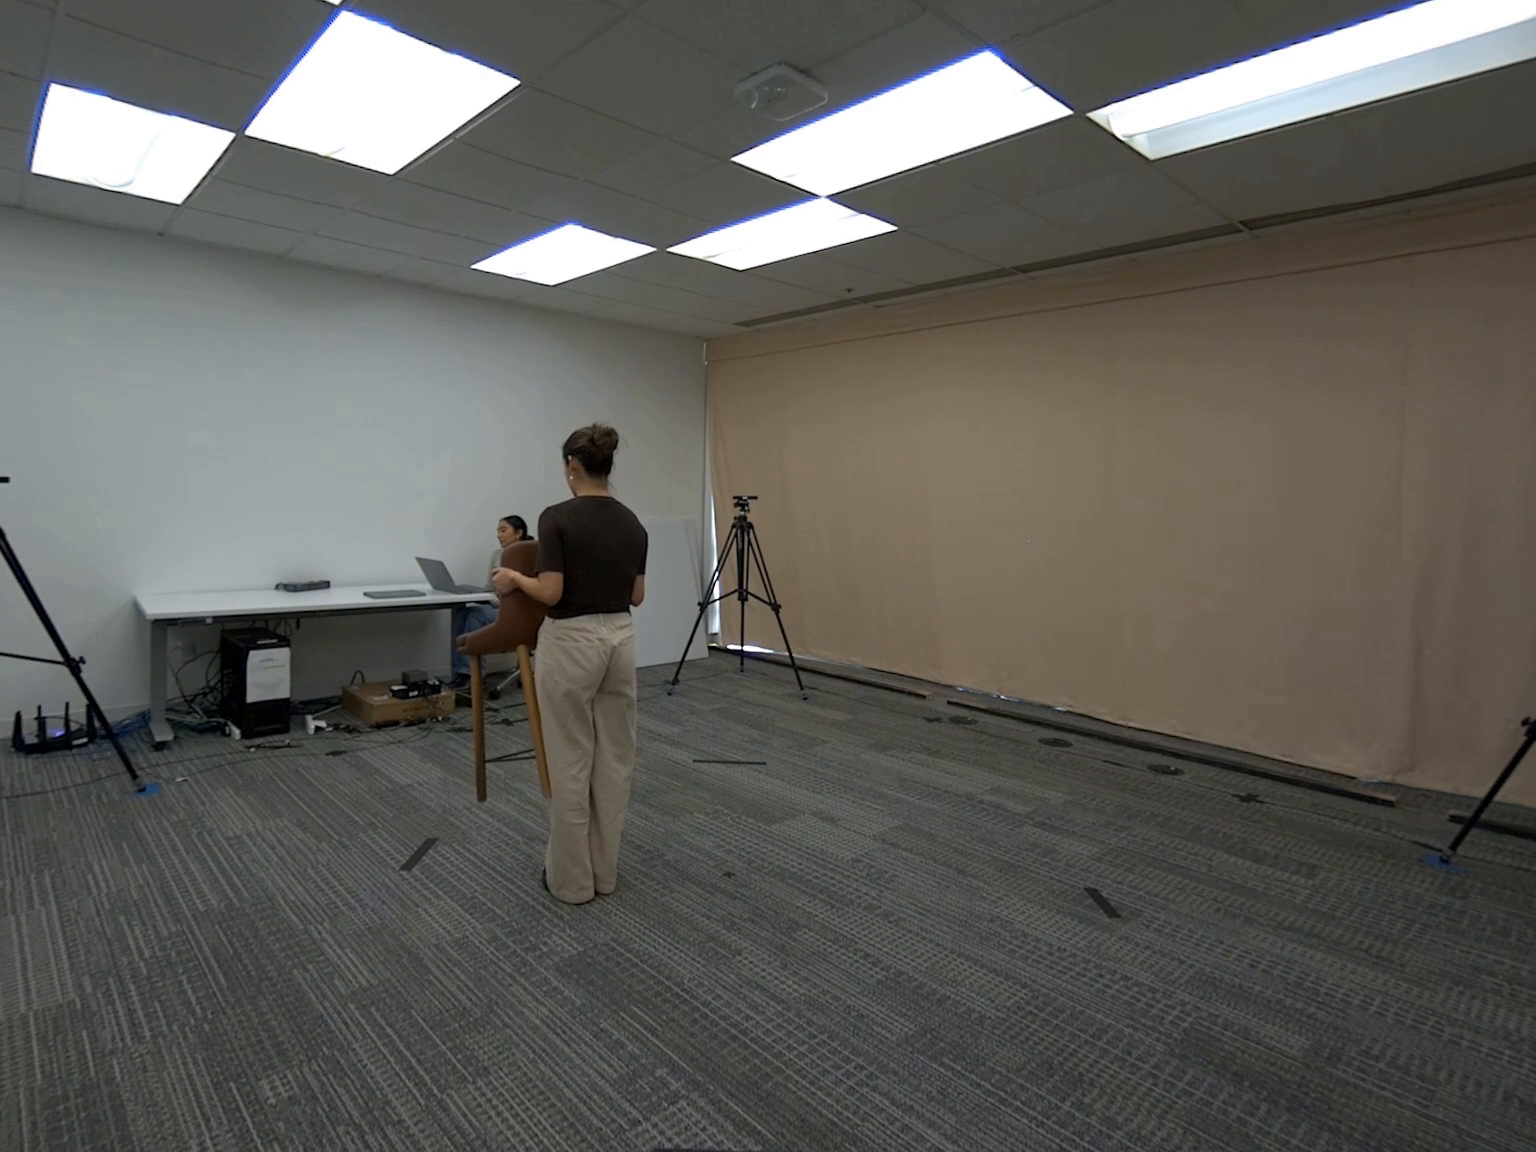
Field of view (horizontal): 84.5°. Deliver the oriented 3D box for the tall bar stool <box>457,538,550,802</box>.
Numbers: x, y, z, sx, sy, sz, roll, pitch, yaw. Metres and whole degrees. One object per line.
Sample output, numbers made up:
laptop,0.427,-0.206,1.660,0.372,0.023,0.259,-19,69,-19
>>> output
tall bar stool,-0.867,0.351,3.132,0.475,0.894,0.446,-15,-7,43
